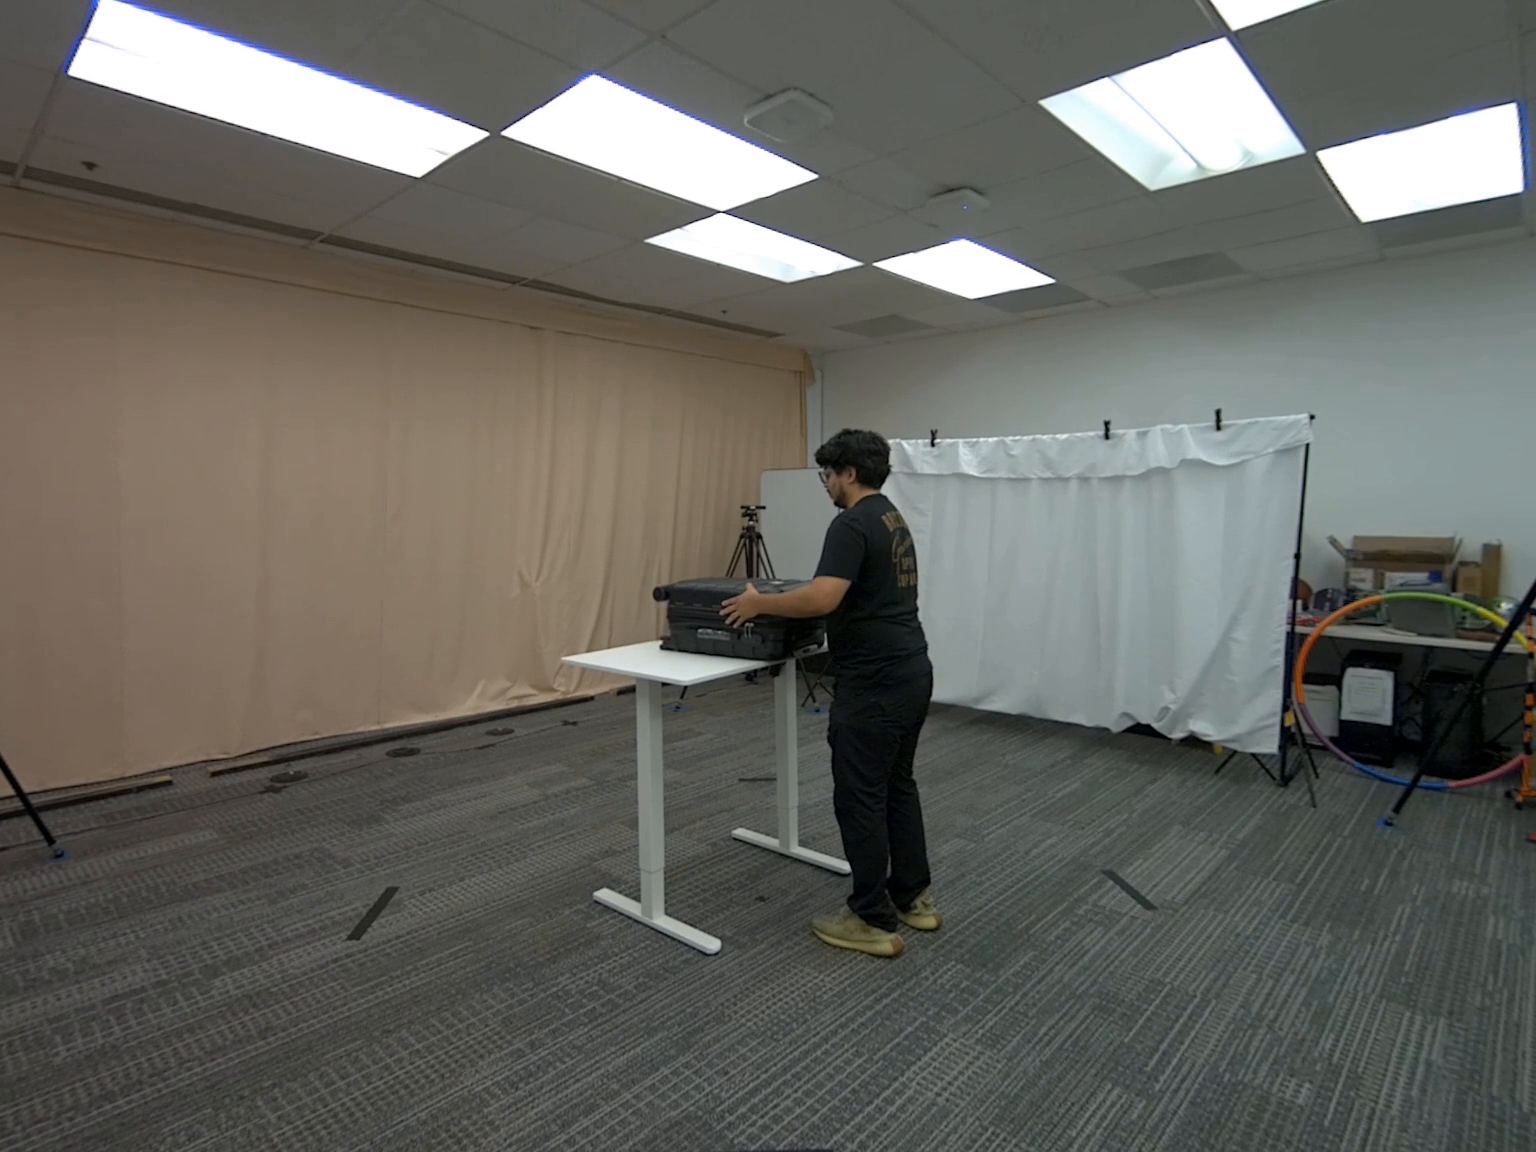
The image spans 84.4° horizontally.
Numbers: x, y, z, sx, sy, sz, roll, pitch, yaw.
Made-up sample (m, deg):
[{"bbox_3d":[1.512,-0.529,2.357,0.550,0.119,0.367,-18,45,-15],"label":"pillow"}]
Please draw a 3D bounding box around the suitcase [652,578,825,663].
[{"bbox_3d":[-0.086,0.146,2.968,0.567,0.248,0.364,2,5,36],"label":"suitcase"}]
